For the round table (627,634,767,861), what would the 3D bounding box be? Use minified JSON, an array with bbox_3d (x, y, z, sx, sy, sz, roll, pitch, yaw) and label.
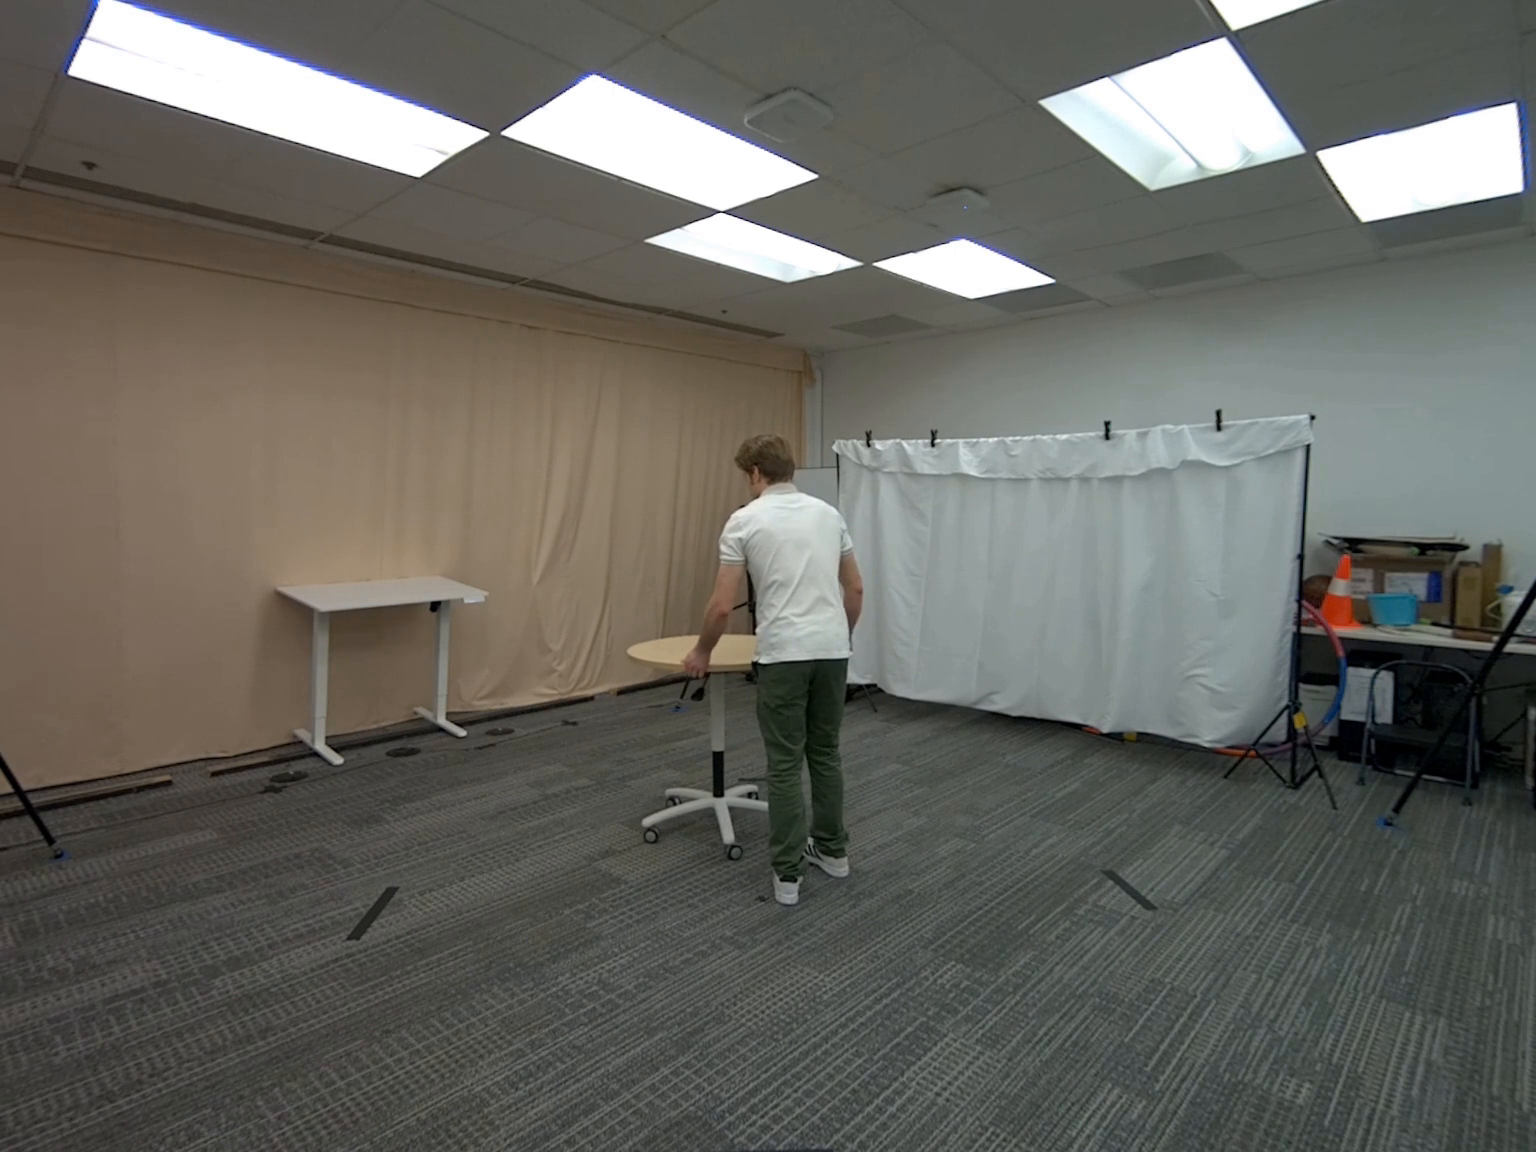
[{"bbox_3d":[-0.211,0.702,3.623,0.763,0.792,0.766,-1,3,-2],"label":"round table"}]
